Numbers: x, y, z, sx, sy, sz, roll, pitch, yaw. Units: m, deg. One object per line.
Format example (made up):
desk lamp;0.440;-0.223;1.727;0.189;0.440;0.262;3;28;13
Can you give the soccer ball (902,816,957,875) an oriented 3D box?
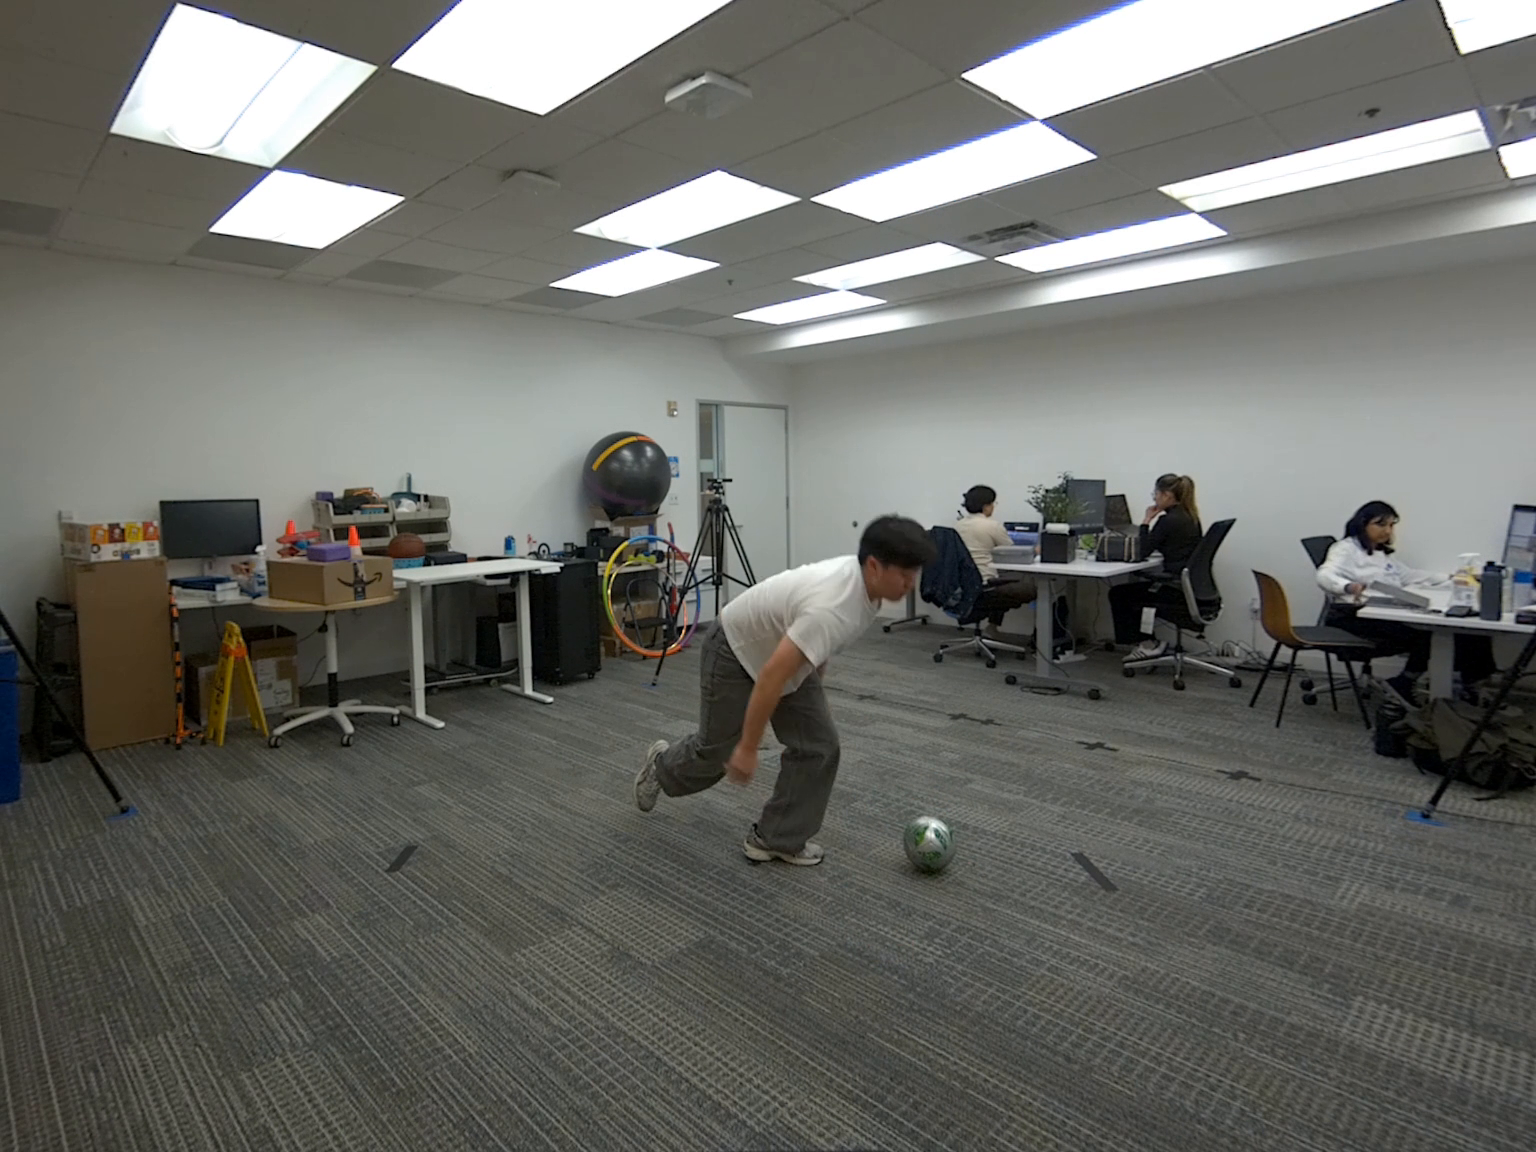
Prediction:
soccer ball;0.574;0.947;3.034;0.187;0.187;0.188;-1;5;-2
